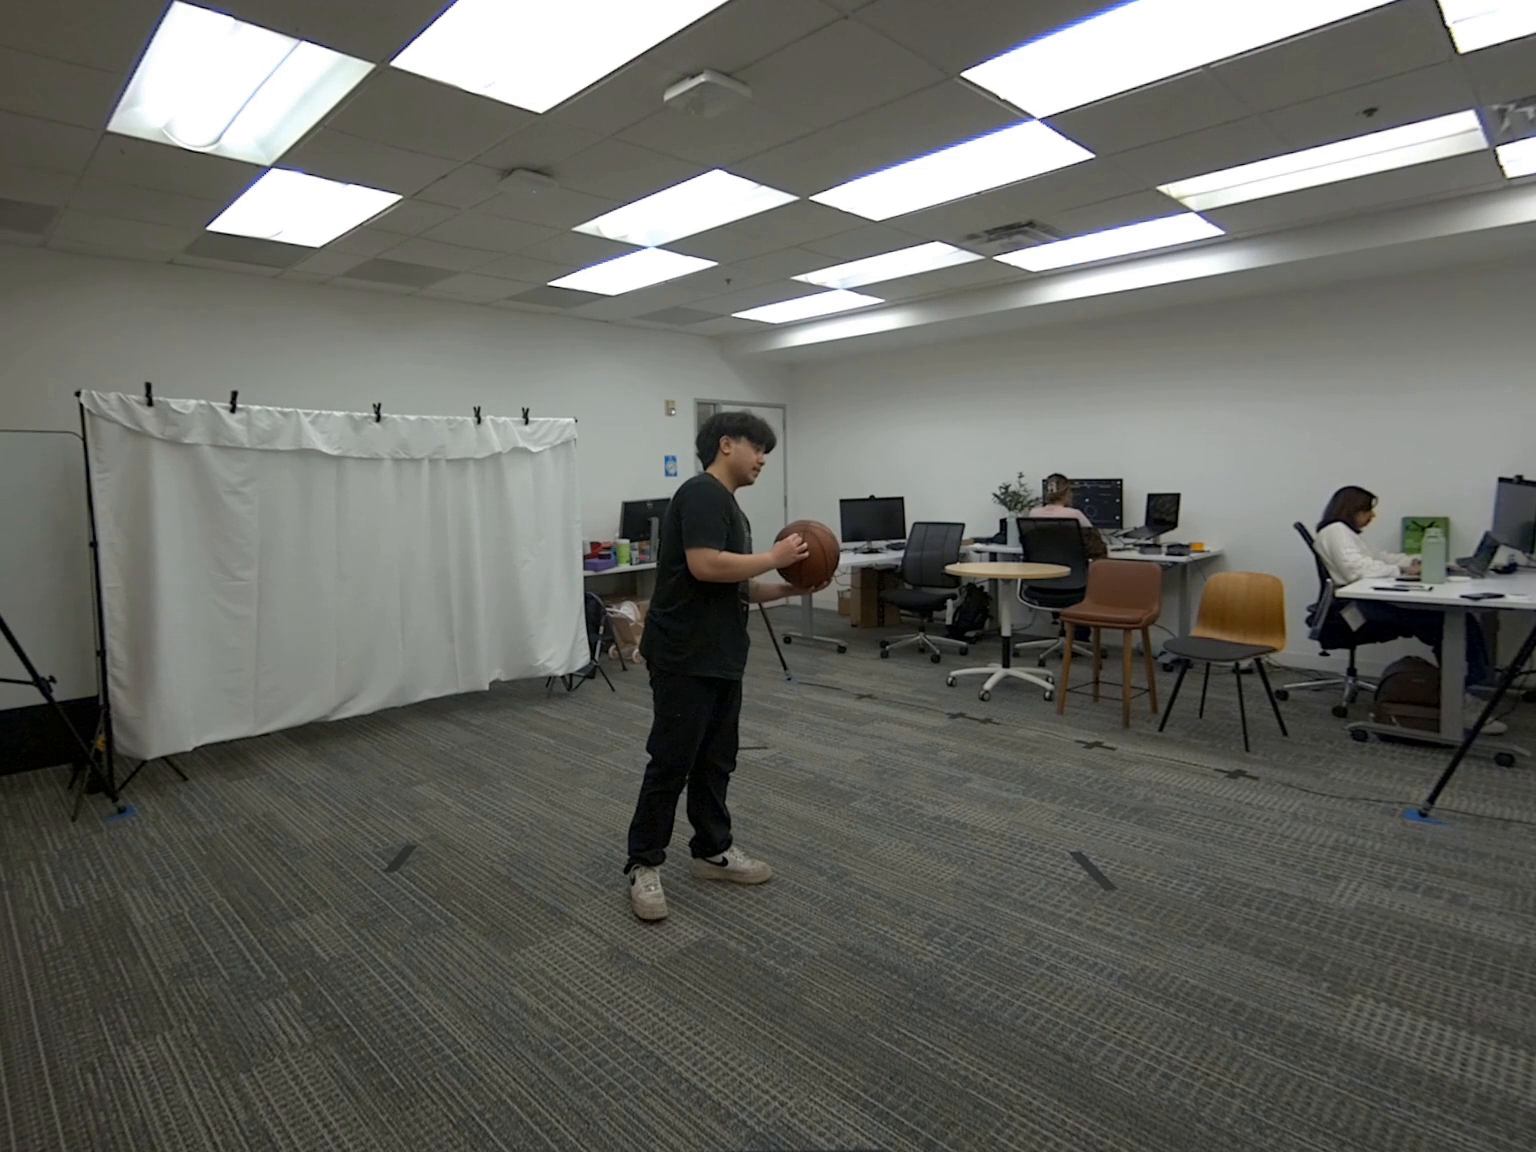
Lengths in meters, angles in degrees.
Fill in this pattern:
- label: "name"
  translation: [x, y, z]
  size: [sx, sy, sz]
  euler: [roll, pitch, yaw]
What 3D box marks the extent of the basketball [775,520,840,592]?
- label: "basketball"
  translation: [0.132, -0.081, 2.998]
  size: [0.236, 0.235, 0.237]
  euler: [-1, 5, -2]
